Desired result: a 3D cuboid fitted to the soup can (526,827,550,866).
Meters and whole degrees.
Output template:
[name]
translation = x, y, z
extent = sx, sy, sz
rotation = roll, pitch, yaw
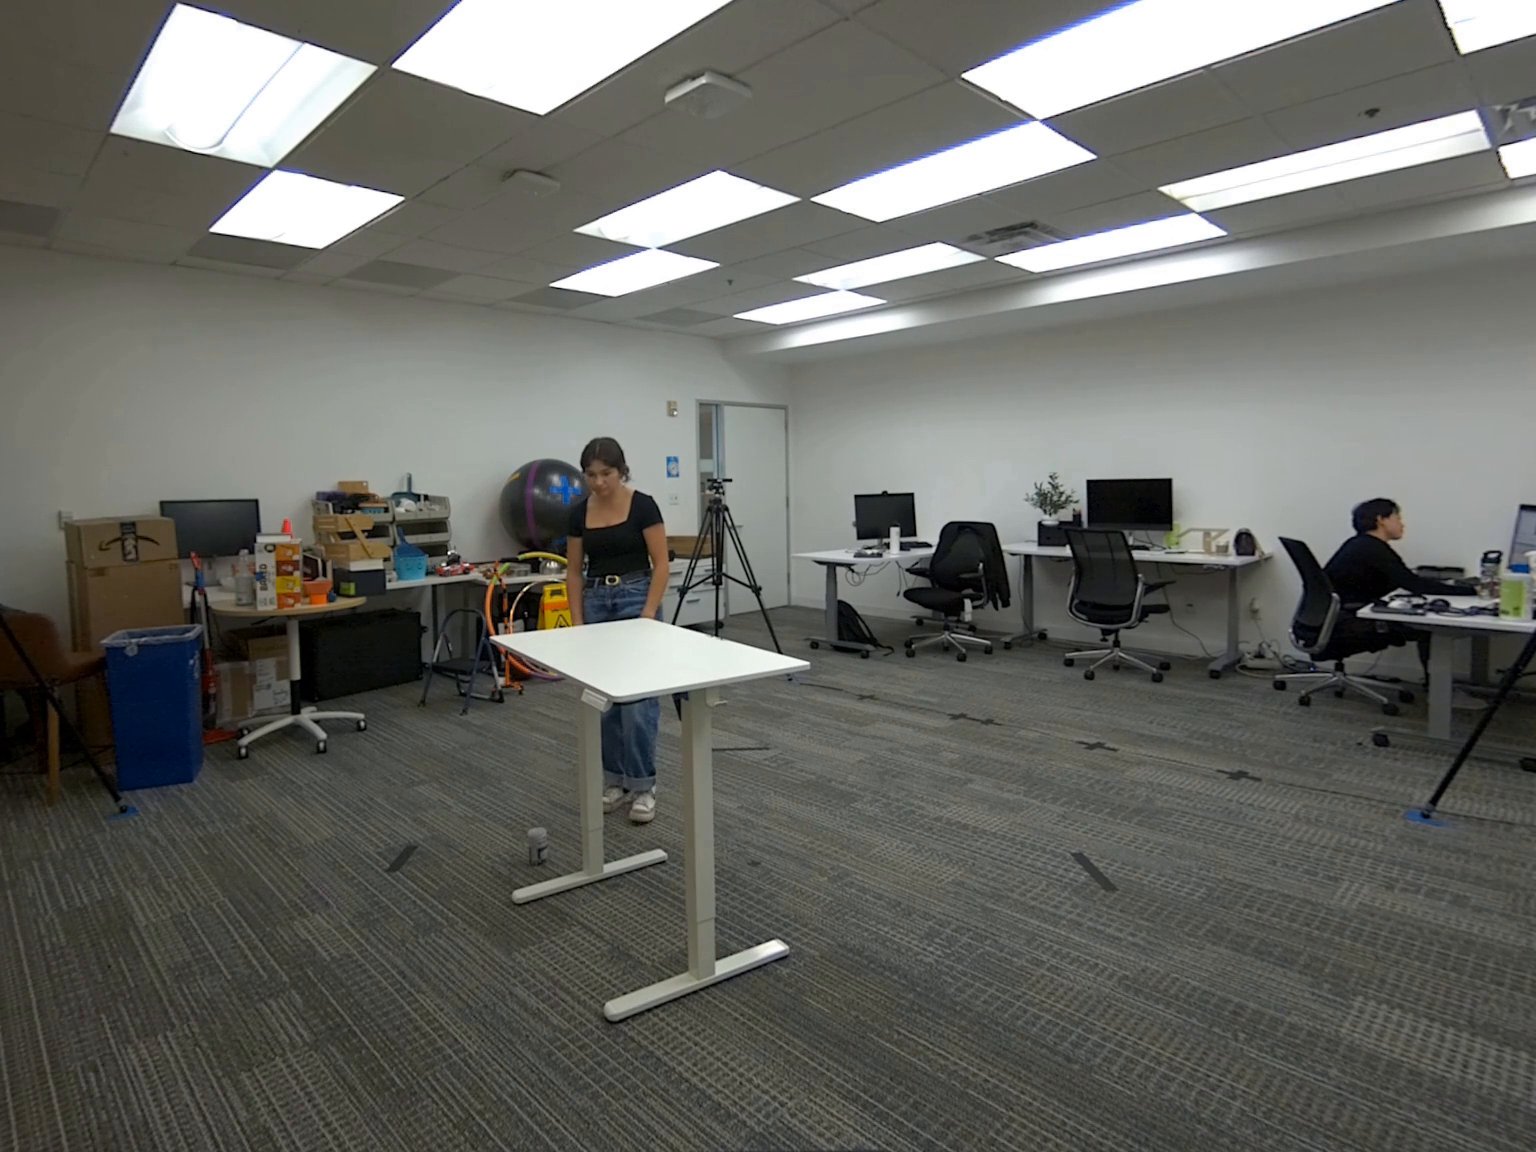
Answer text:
[soup can]
translation = -0.843, 0.999, 3.146
extent = 0.067, 0.121, 0.067
rotation = -5, 4, -1
